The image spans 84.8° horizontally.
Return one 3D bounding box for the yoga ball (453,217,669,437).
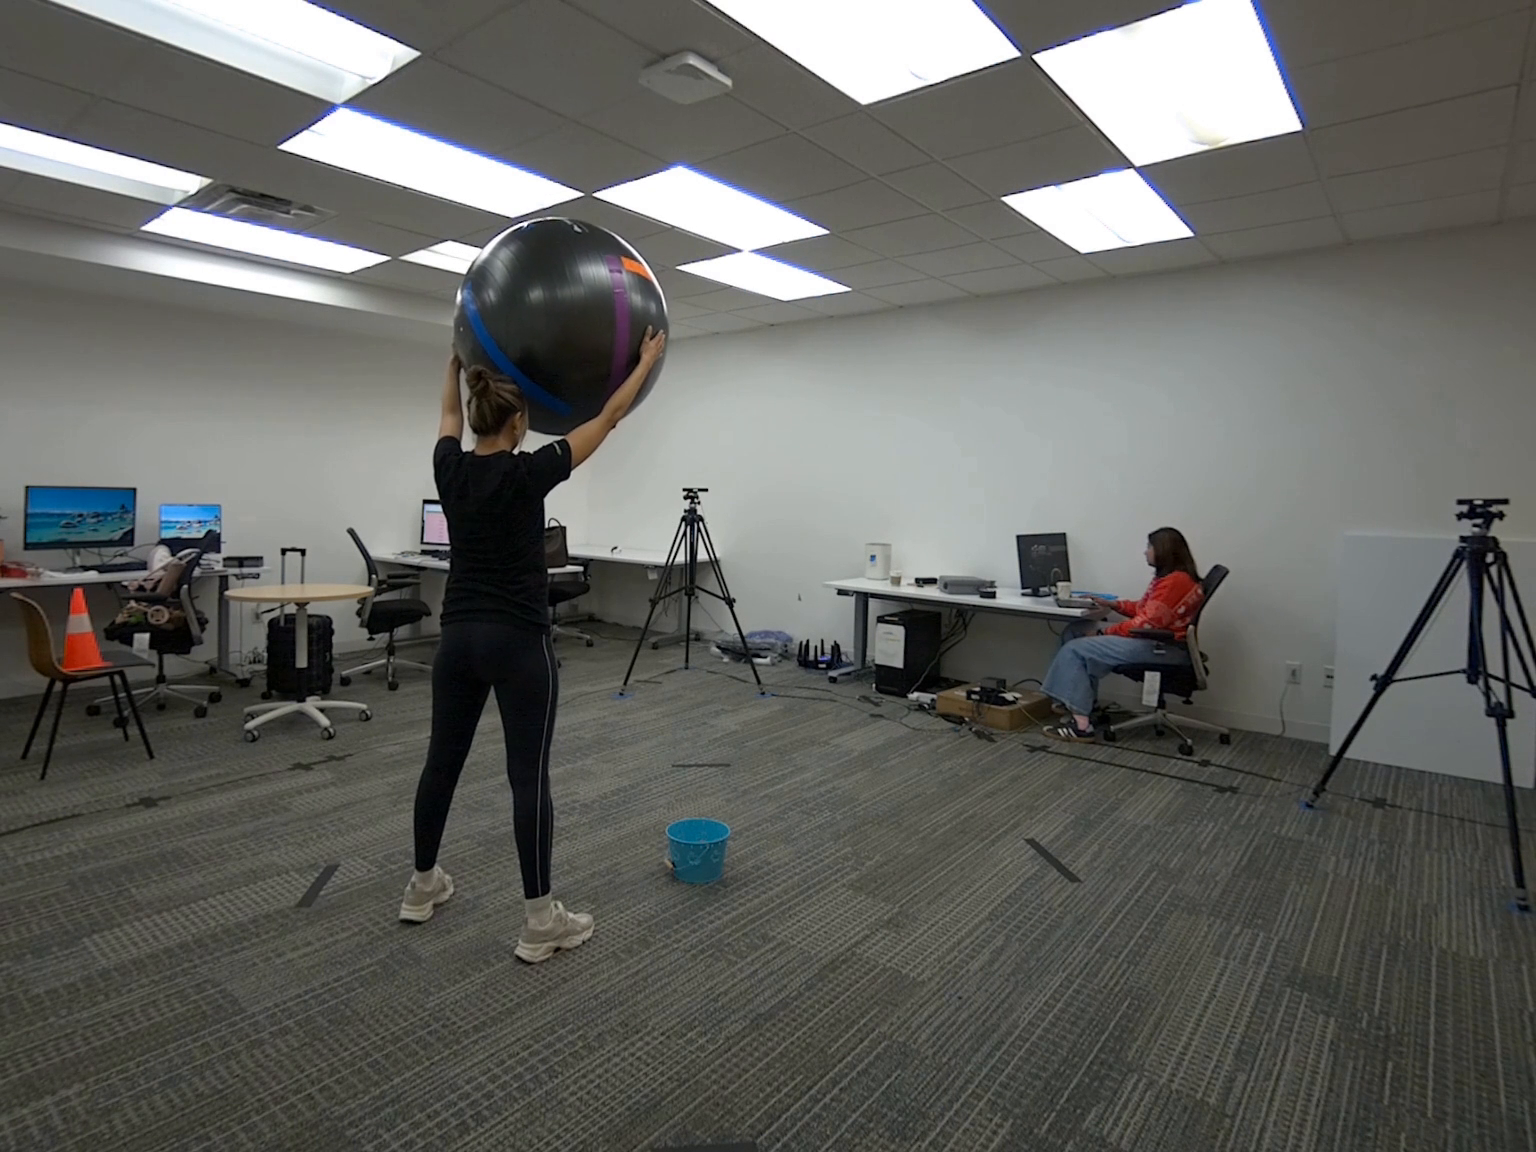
[{"bbox_3d":[-0.747,-0.875,3.045,0.757,0.756,0.762,1,4,-2],"label":"yoga ball"}]
